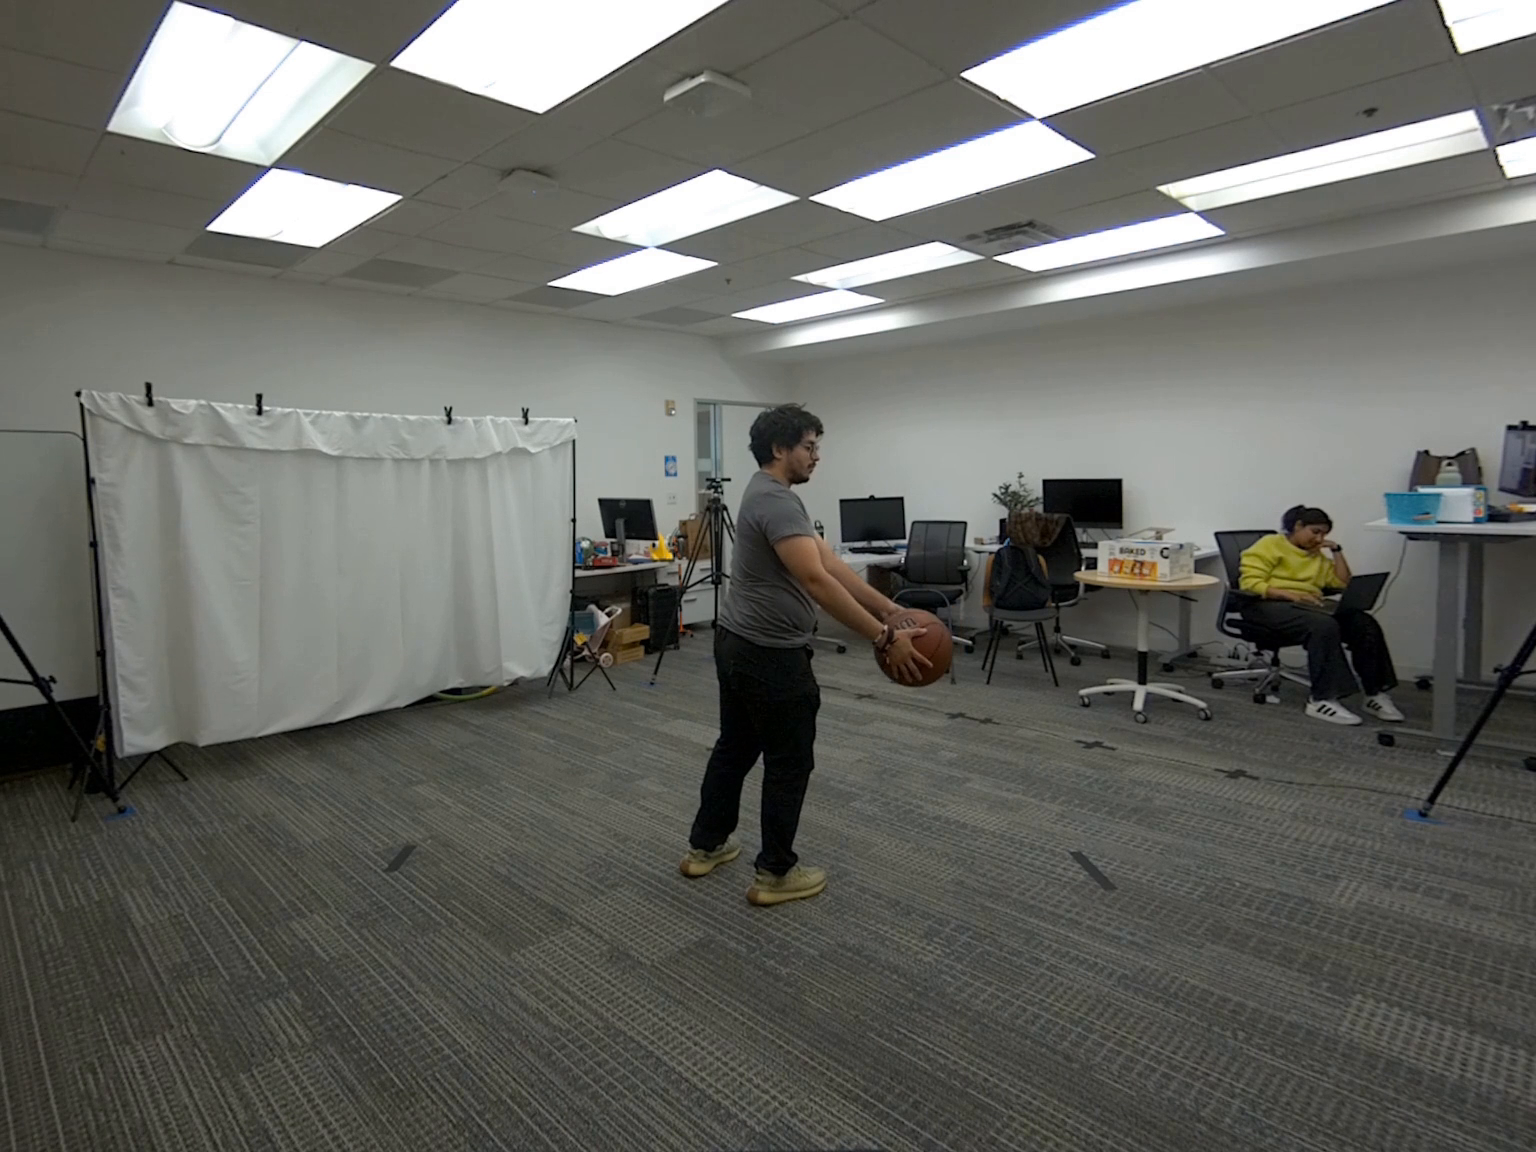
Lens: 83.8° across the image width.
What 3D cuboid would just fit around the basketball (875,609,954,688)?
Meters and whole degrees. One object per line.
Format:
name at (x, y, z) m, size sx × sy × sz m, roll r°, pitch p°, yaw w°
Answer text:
basketball at (0.445, 0.218, 2.620) m, size 0.236 × 0.235 × 0.237 m, roll -1°, pitch 5°, yaw -2°
